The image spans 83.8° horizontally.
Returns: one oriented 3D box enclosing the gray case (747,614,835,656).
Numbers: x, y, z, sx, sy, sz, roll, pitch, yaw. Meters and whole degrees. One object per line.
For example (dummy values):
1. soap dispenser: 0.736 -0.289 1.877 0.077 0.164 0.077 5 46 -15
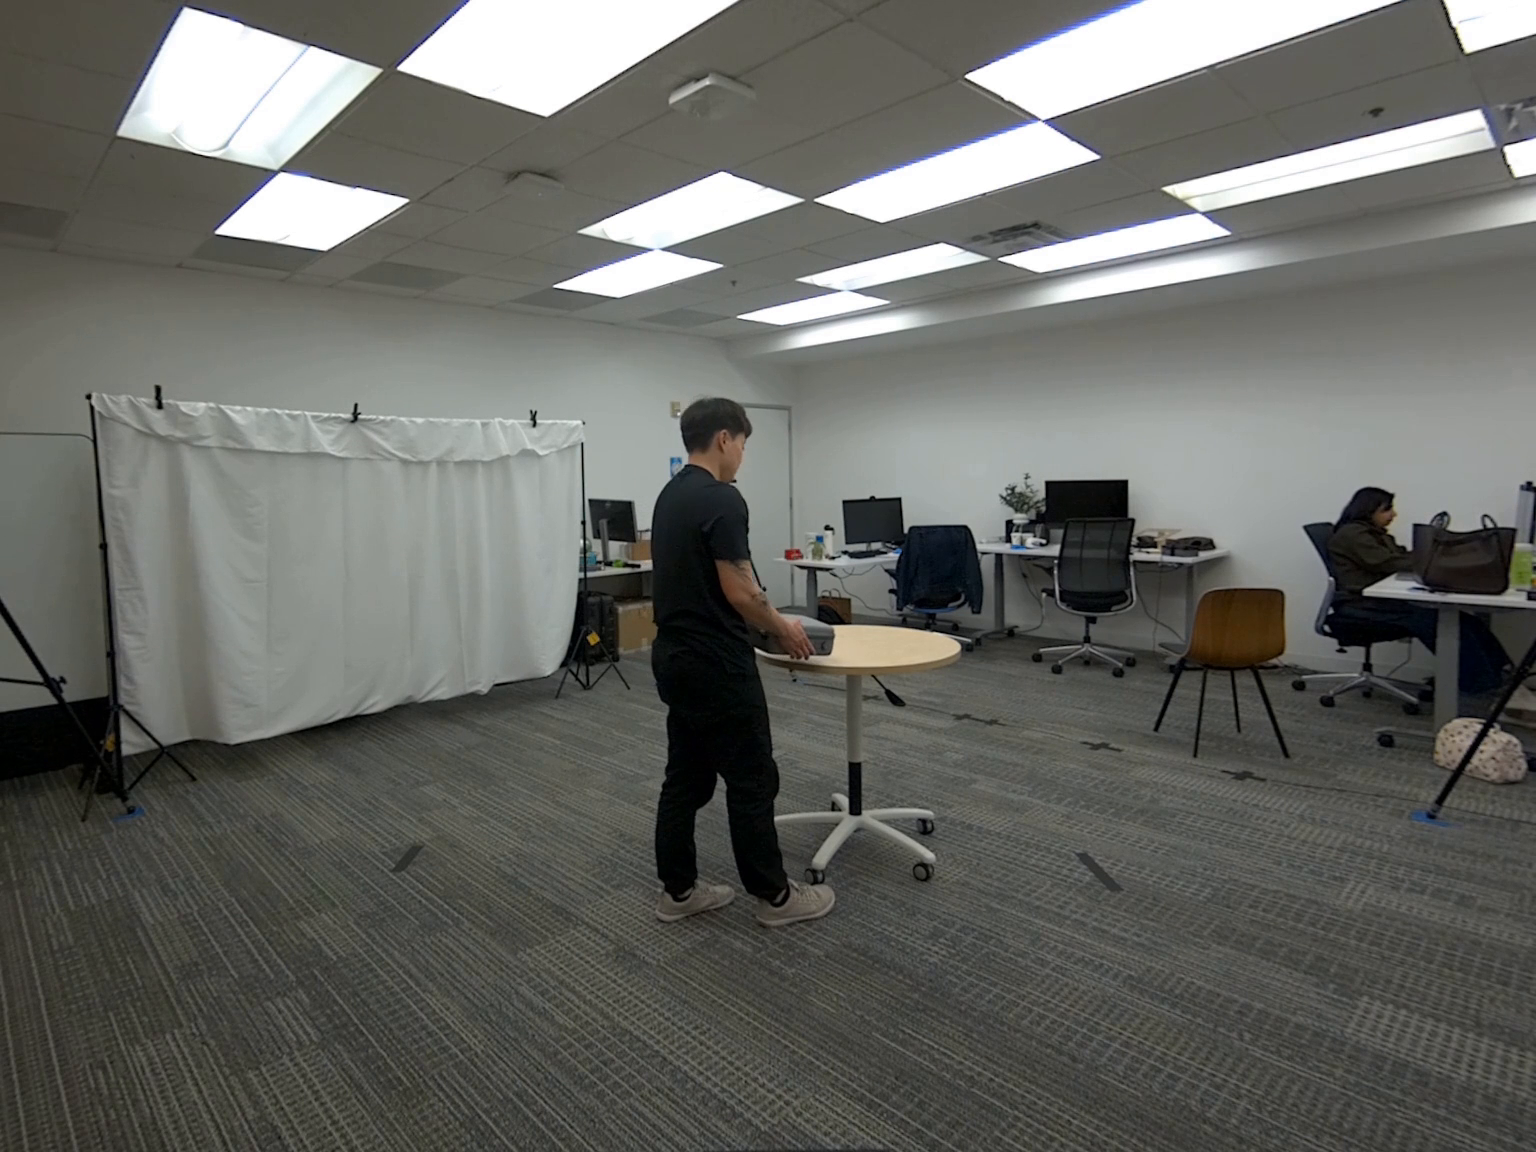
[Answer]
1. gray case: 0.068 0.193 2.835 0.254 0.104 0.264 5 3 -26
